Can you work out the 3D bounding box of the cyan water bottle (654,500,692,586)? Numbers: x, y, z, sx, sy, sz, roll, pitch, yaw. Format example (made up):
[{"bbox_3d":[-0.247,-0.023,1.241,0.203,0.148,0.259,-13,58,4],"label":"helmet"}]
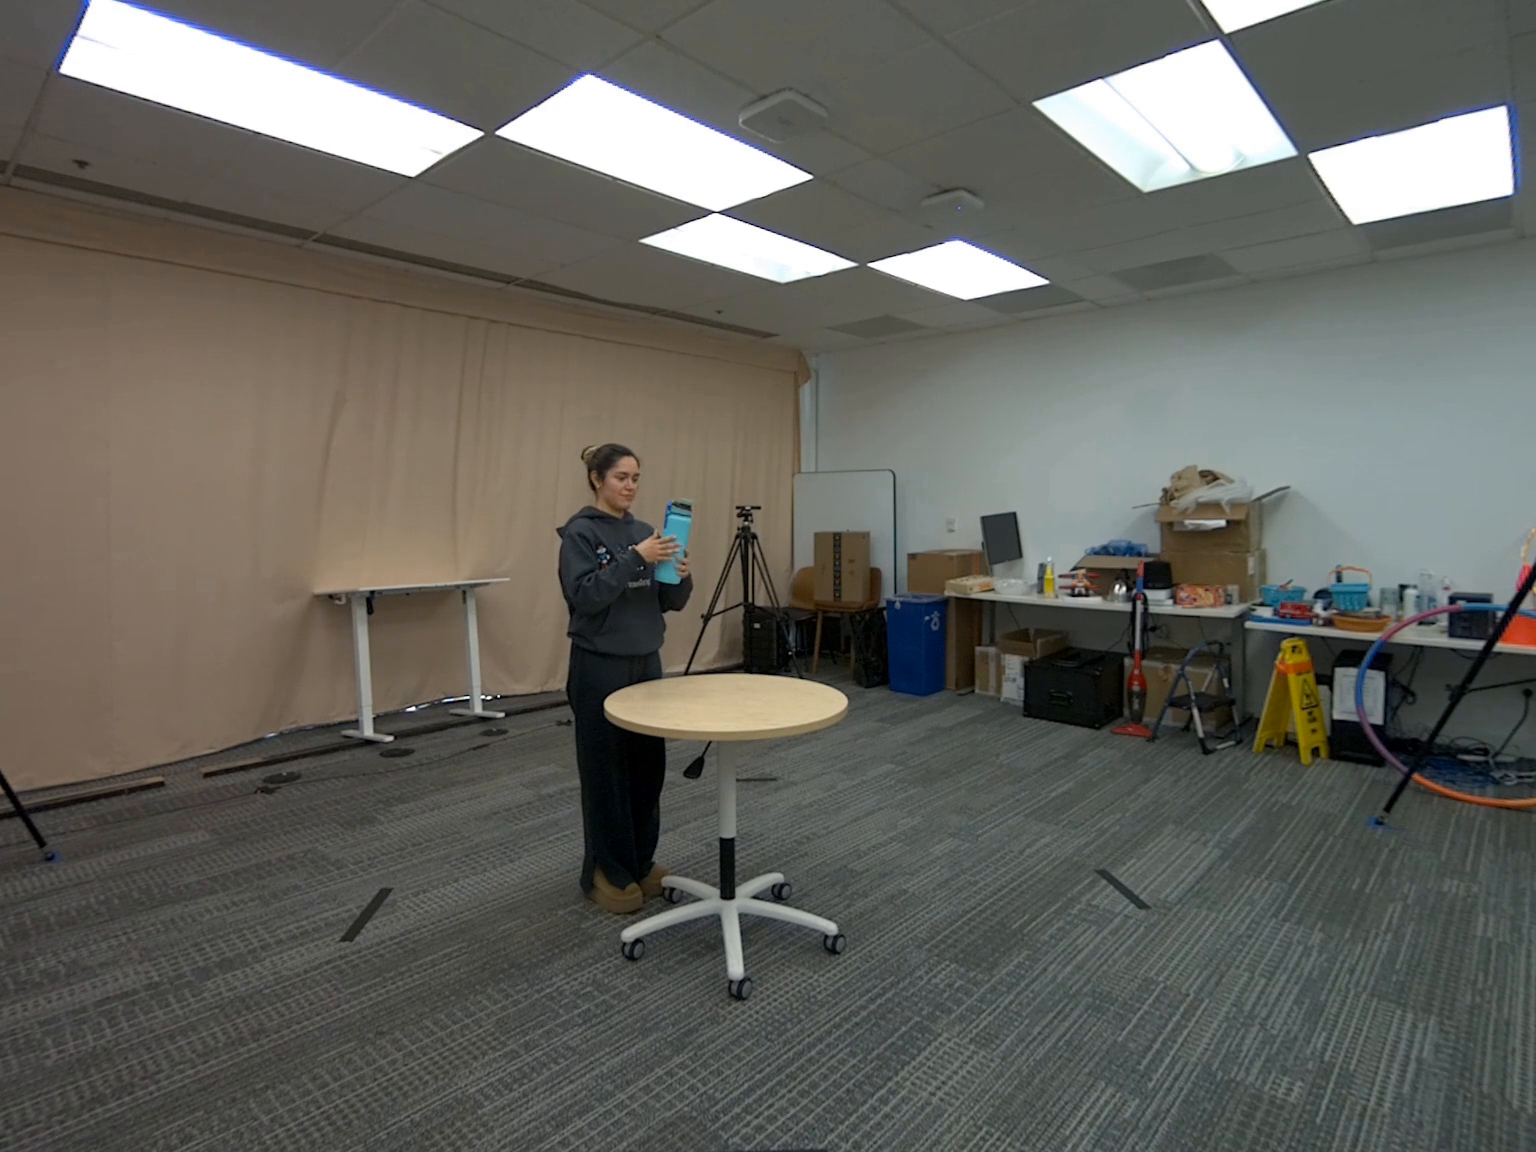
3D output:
[{"bbox_3d":[-0.317,-0.098,2.832,0.092,0.282,0.093,11,7,-3],"label":"cyan water bottle"}]
